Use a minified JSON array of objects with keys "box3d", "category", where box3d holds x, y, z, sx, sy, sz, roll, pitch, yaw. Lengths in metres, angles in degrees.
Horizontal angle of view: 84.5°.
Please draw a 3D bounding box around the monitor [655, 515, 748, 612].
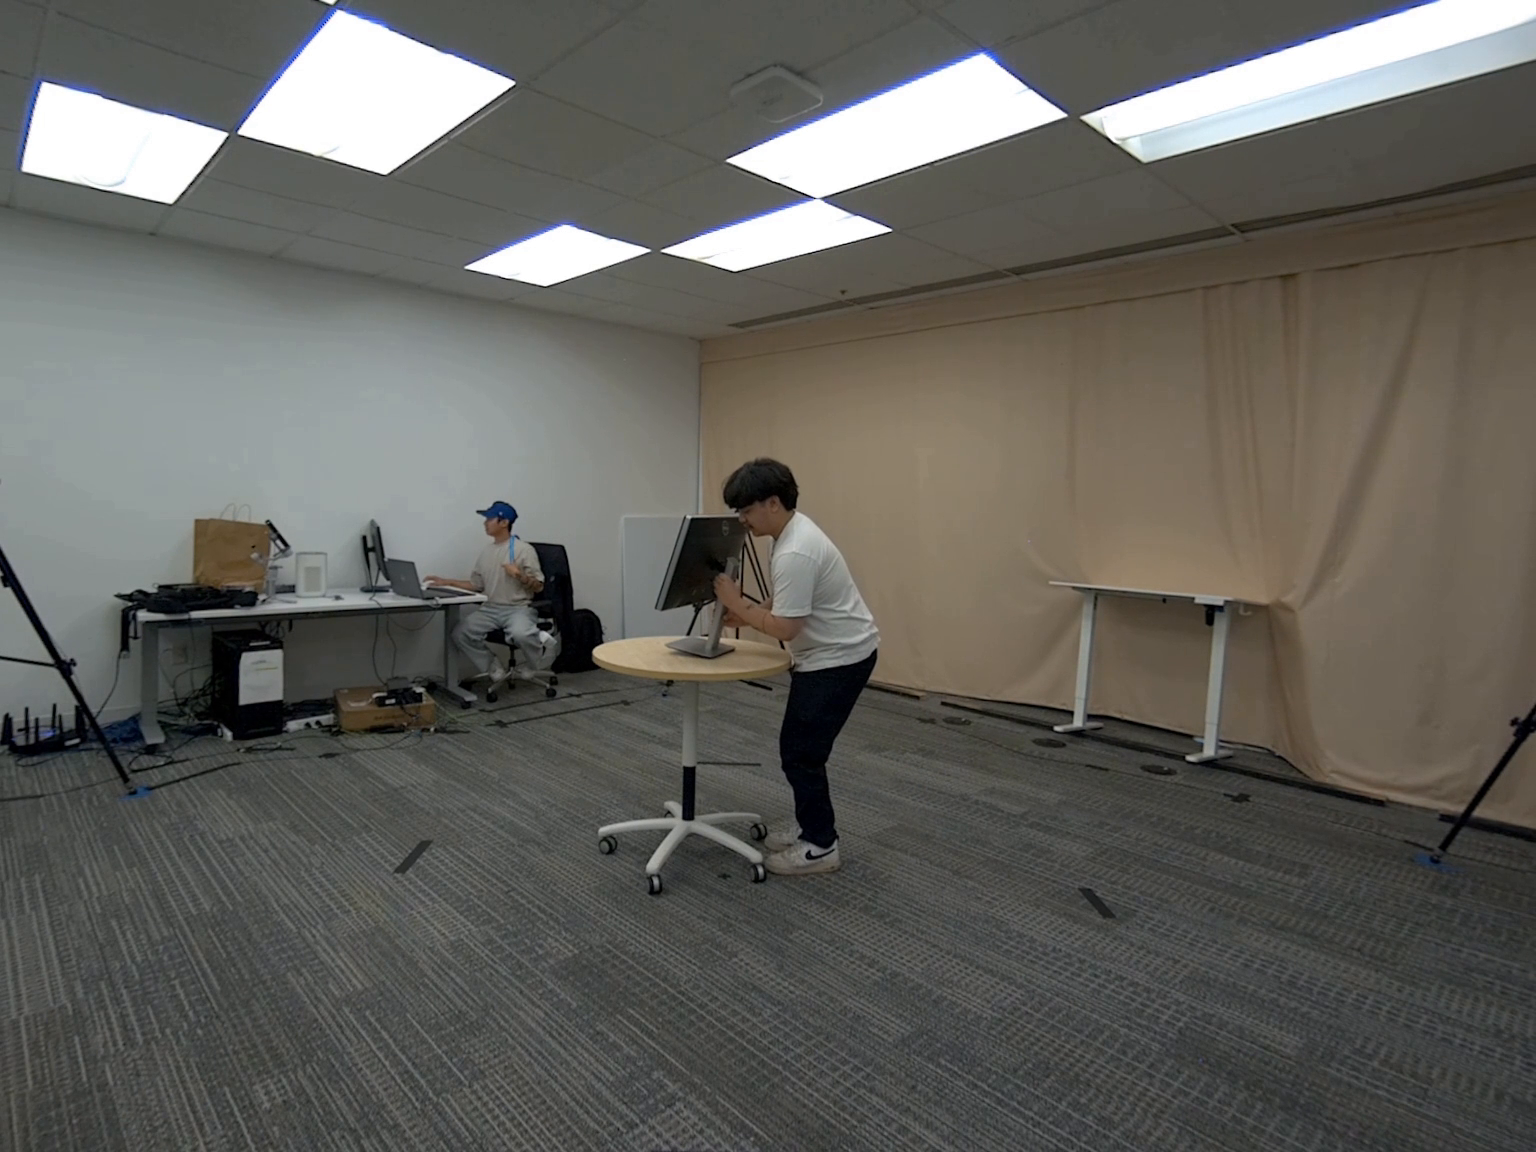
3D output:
[{"box3d":[-0.199,0.041,3.225,0.214,0.551,0.556,16,9,21],"category":"monitor"}]
